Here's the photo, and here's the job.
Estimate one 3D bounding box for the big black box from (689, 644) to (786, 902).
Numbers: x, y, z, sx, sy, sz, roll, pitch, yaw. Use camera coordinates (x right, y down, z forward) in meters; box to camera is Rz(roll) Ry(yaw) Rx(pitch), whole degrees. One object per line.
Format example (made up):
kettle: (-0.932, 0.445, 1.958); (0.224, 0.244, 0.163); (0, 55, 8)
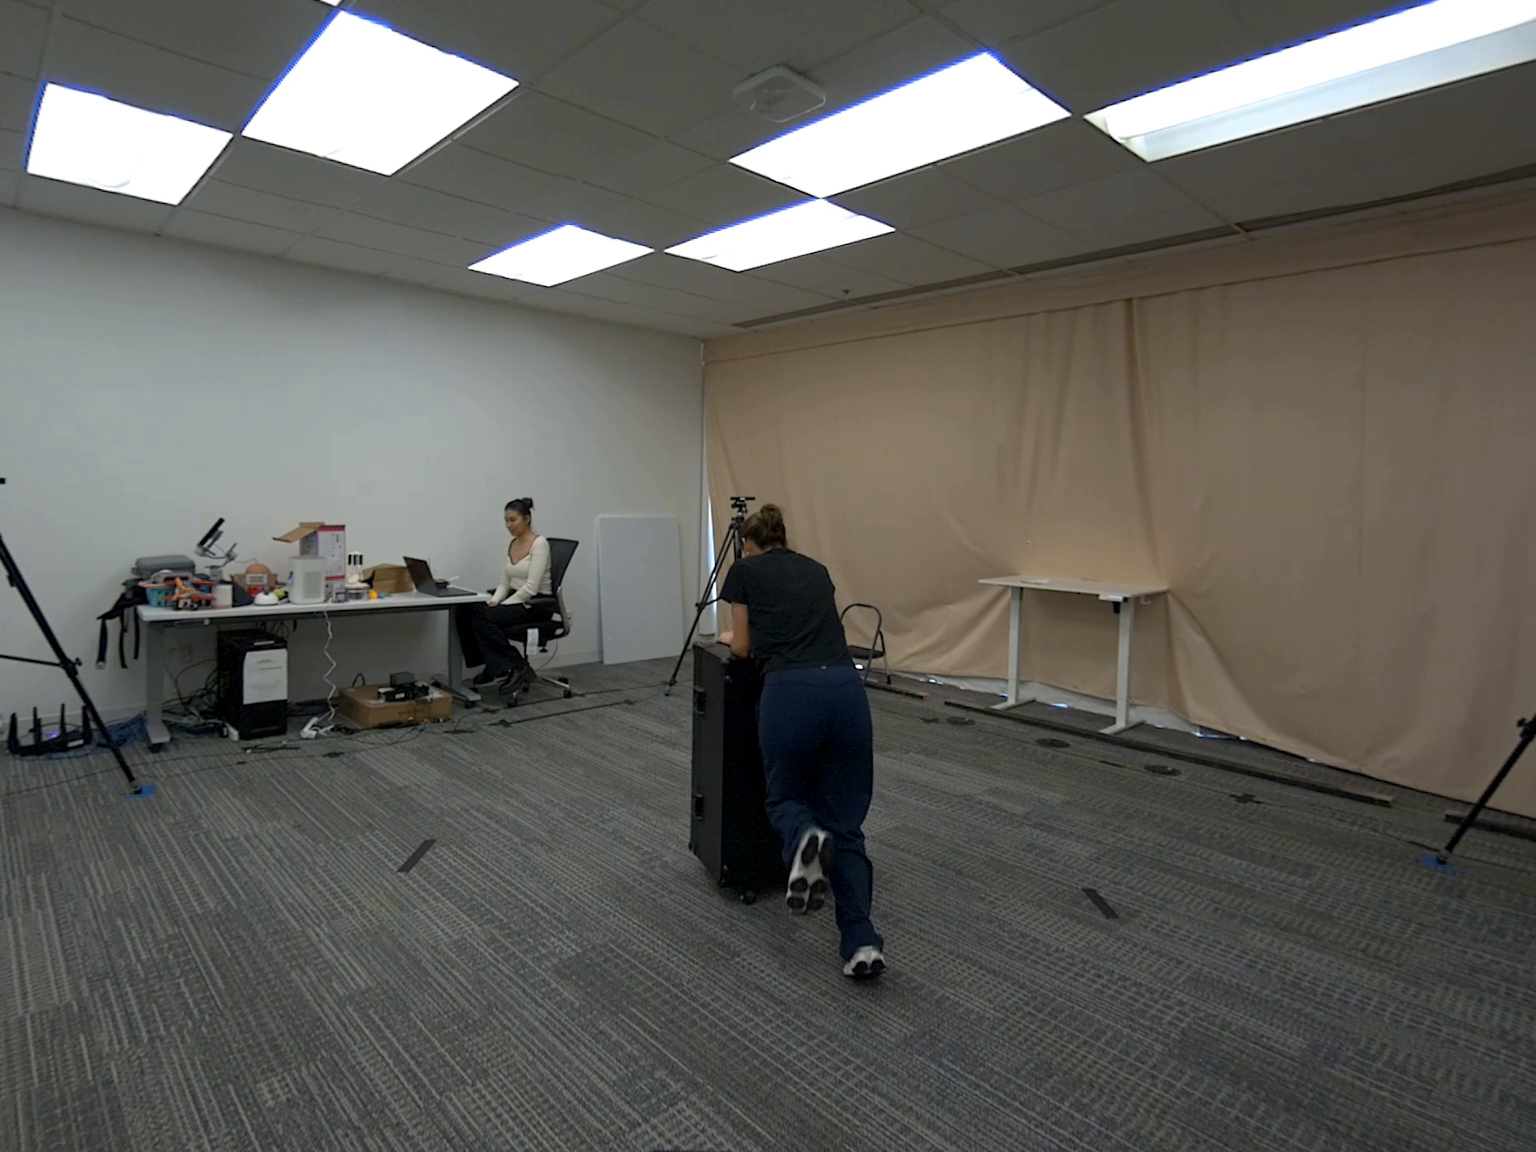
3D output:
big black box: (-0.001, 0.629, 3.053); (0.513, 0.860, 0.403); (0, 3, -21)
